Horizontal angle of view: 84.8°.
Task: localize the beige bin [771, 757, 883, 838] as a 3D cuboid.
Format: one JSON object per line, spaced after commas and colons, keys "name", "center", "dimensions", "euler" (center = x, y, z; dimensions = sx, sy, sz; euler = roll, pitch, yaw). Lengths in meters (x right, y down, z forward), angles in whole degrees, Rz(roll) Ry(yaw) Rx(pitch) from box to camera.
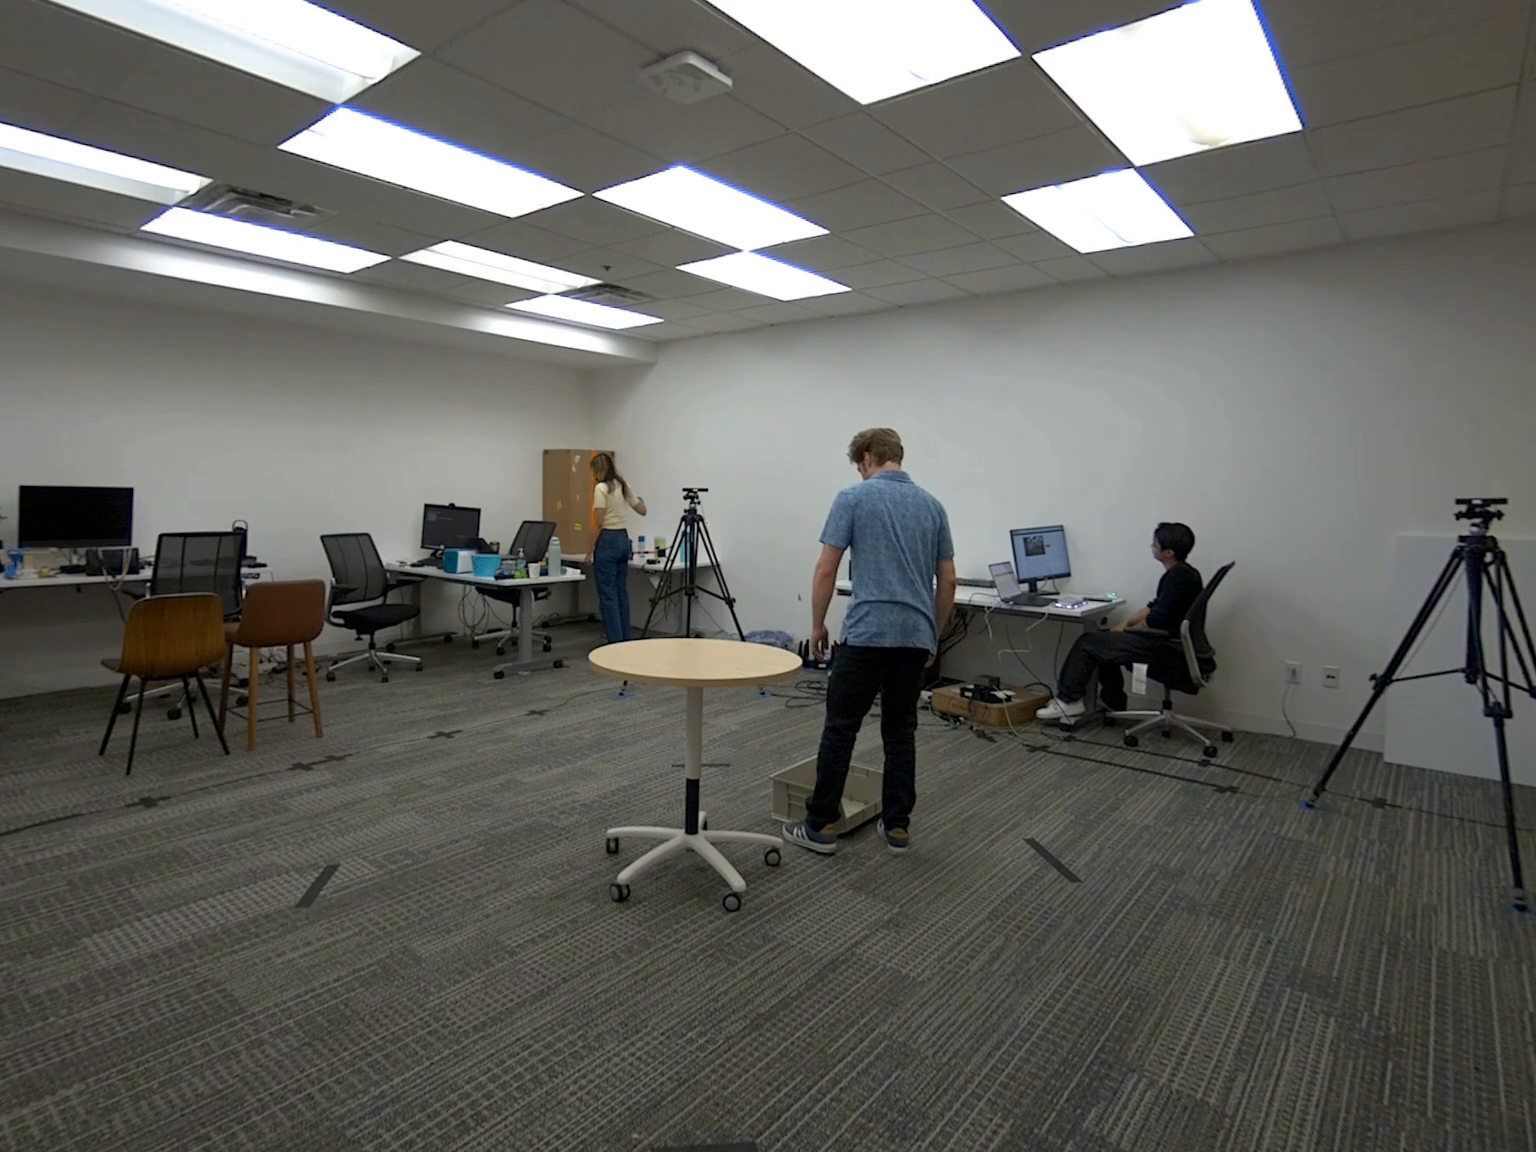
{"name": "beige bin", "center": [0.266, 0.937, 3.660], "dimensions": [0.390, 0.188, 0.410], "euler": [4, 7, 37]}
